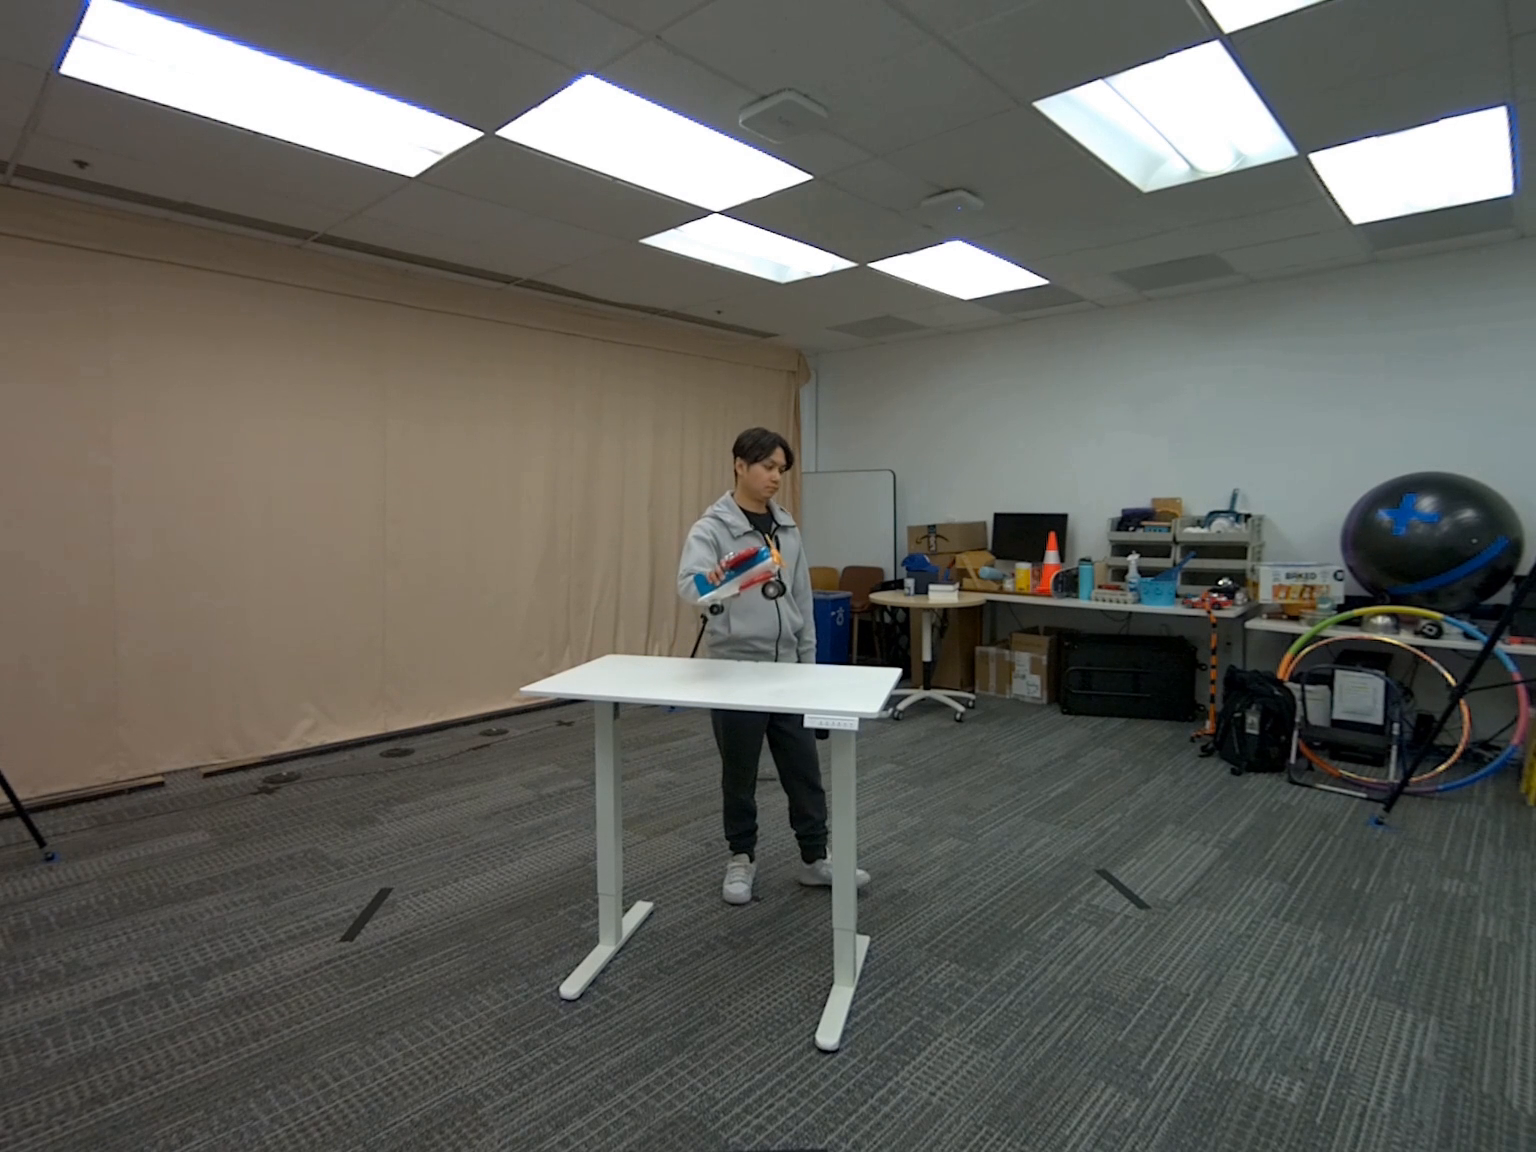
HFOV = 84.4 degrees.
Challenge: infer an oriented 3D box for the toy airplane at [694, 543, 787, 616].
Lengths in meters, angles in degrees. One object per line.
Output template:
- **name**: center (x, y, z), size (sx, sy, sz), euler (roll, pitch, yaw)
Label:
- **toy airplane**: center (-0.073, 0.012, 2.354), size (0.256, 0.157, 0.254), euler (-15, -1, -16)
